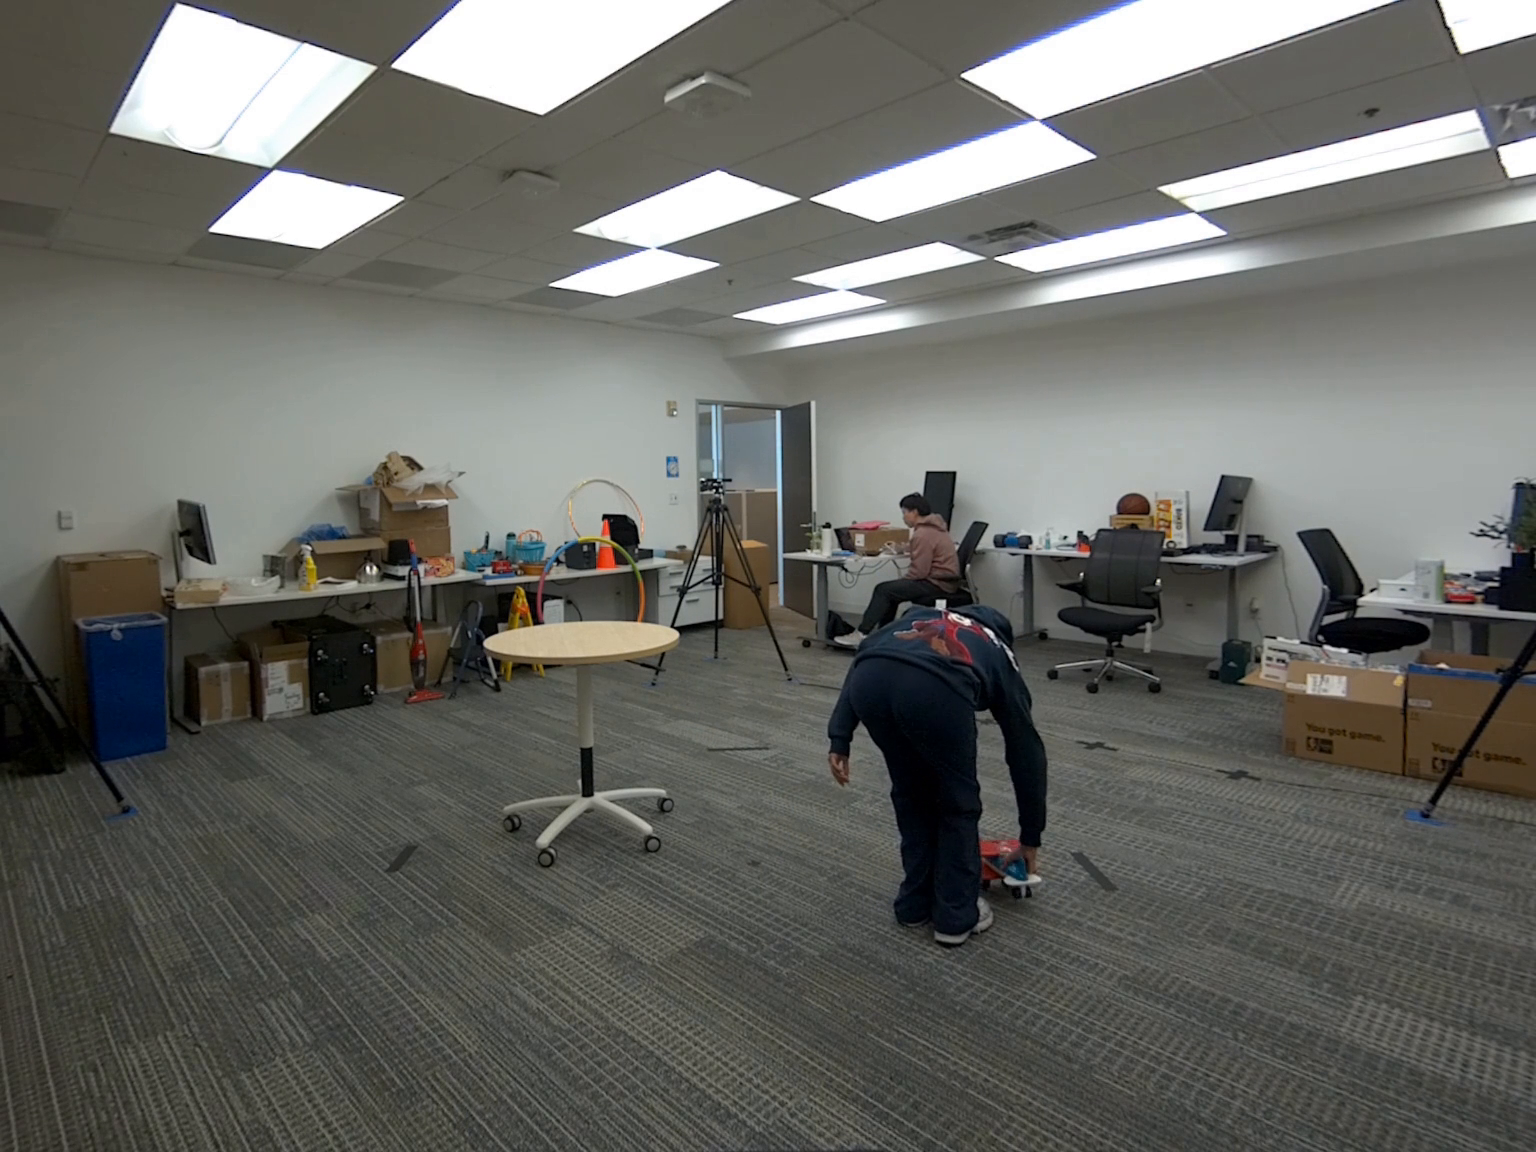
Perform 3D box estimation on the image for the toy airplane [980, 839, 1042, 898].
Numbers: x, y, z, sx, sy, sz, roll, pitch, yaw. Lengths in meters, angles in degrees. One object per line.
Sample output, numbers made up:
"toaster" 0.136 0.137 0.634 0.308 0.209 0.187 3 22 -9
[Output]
"toy airplane" 0.815 0.961 2.814 0.243 0.158 0.264 4 -13 -39
